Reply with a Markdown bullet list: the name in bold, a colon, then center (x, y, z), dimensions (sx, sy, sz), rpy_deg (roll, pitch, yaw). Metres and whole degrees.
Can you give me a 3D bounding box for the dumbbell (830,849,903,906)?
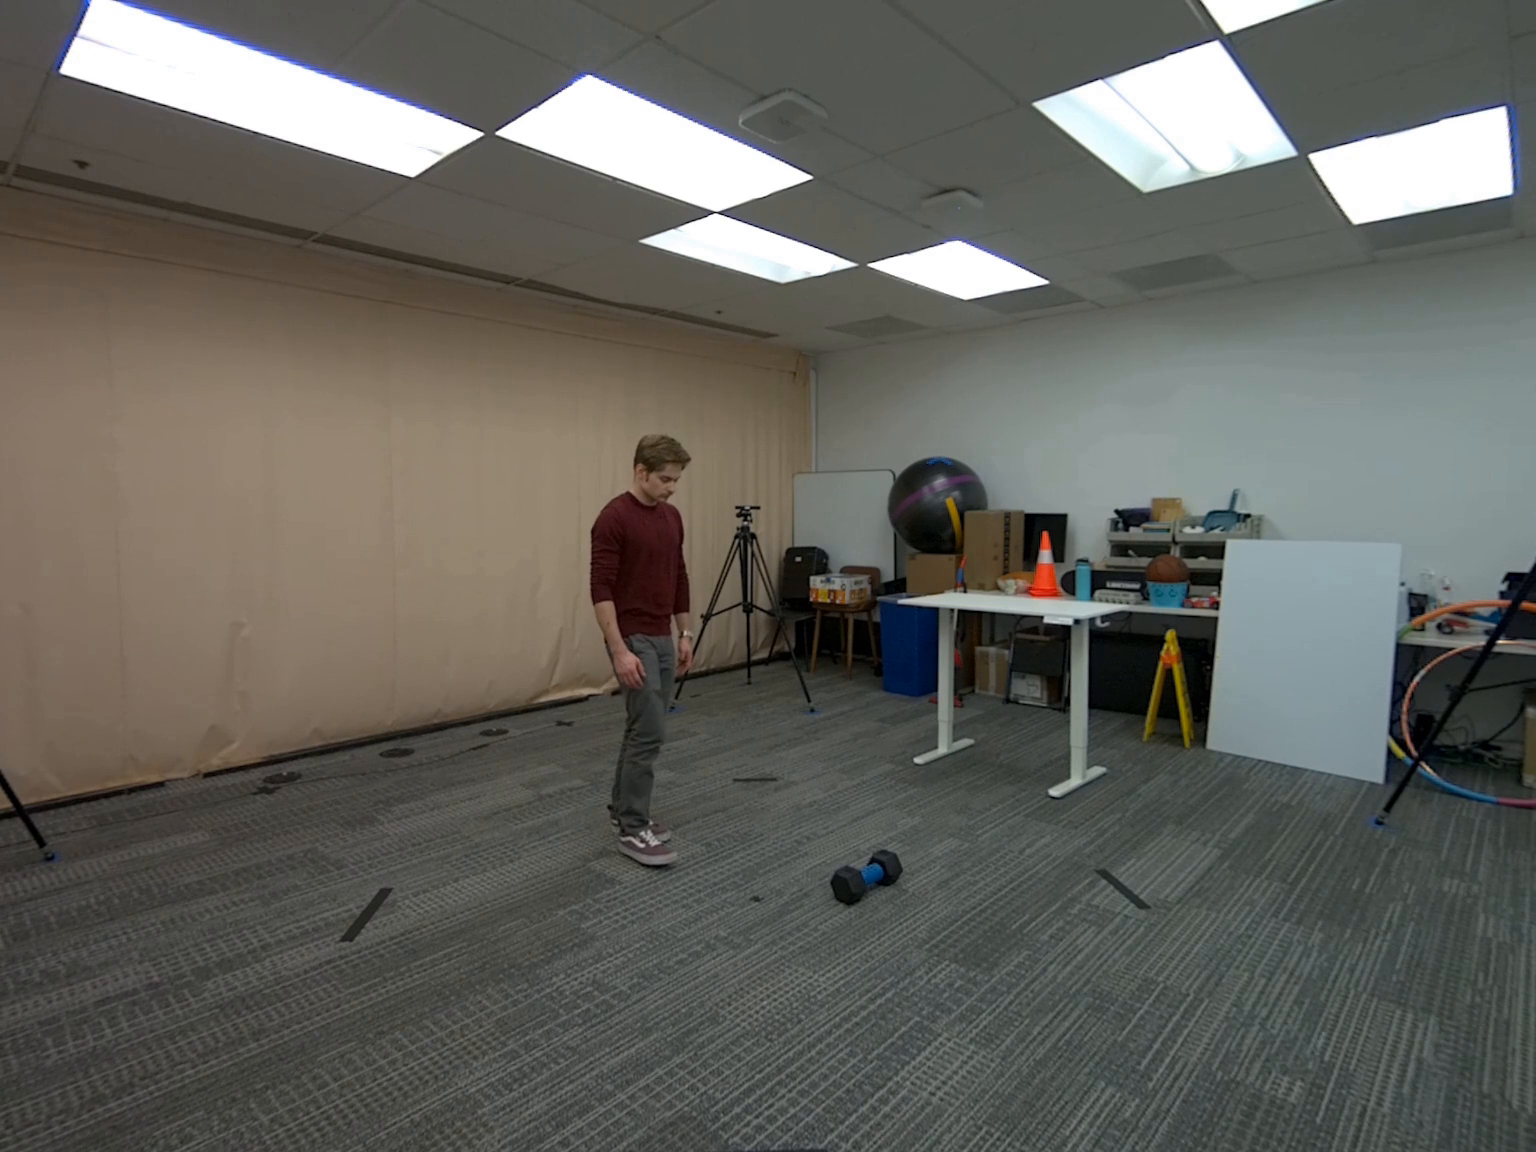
- **dumbbell**: center (0.363, 1.086, 3.042), dimensions (0.285, 0.122, 0.112), rpy_deg (-5, 36, -42)
